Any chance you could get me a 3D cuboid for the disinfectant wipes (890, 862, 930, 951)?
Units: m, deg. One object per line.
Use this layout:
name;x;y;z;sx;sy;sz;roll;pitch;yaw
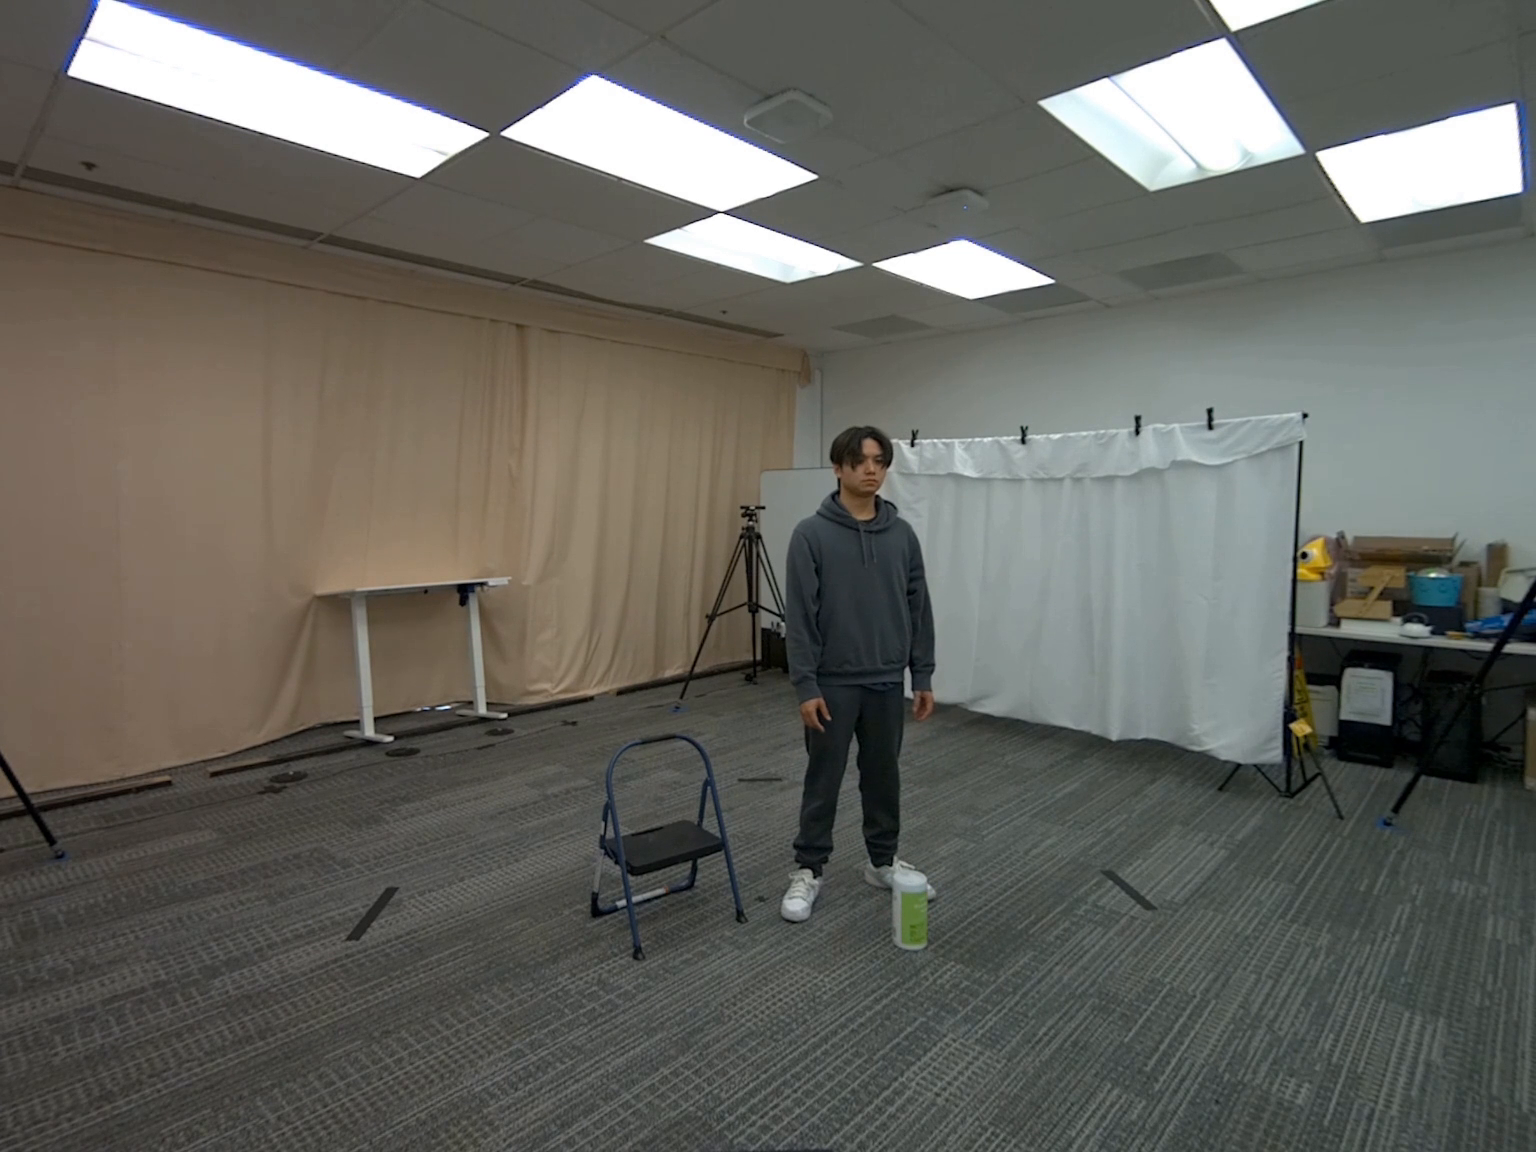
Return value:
disinfectant wipes;0.451;1.057;2.677;0.117;0.217;0.118;1;5;-2
